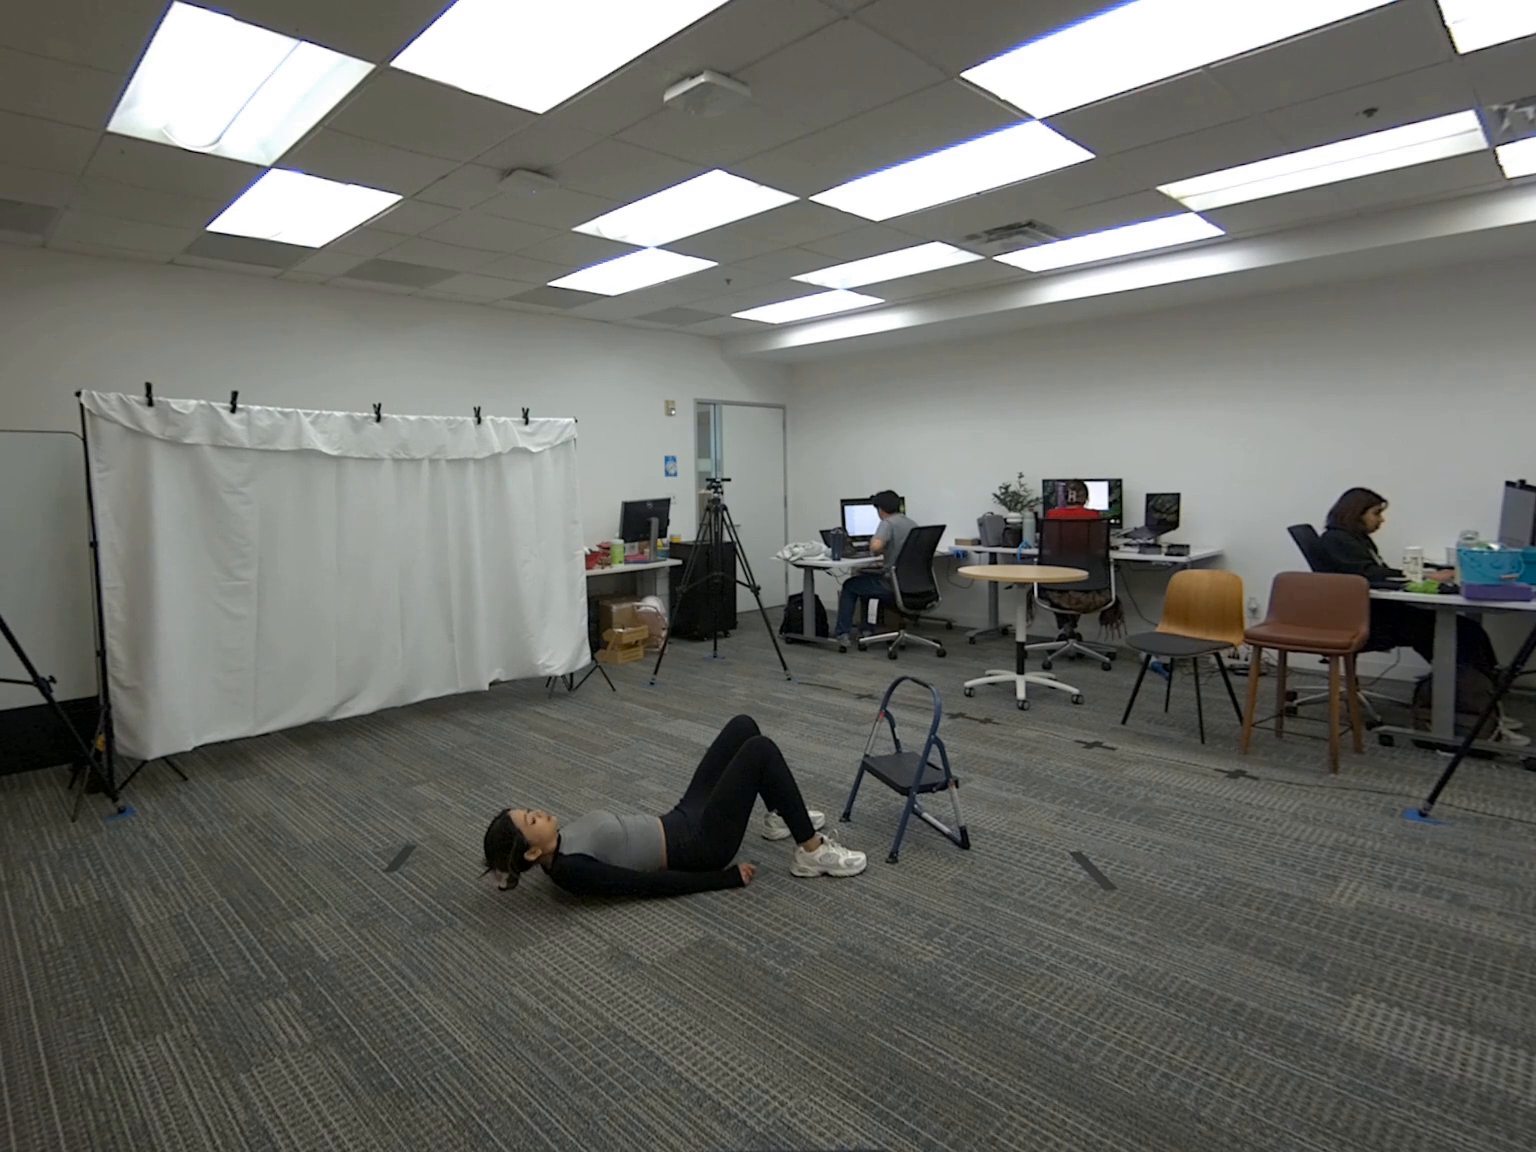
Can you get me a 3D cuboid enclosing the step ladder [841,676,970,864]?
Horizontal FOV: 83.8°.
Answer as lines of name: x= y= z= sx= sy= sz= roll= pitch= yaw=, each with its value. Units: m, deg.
step ladder: x=0.522 y=0.708 z=3.315 sx=0.343 sy=0.604 sz=0.439 roll=-3 pitch=4 yaw=-19
